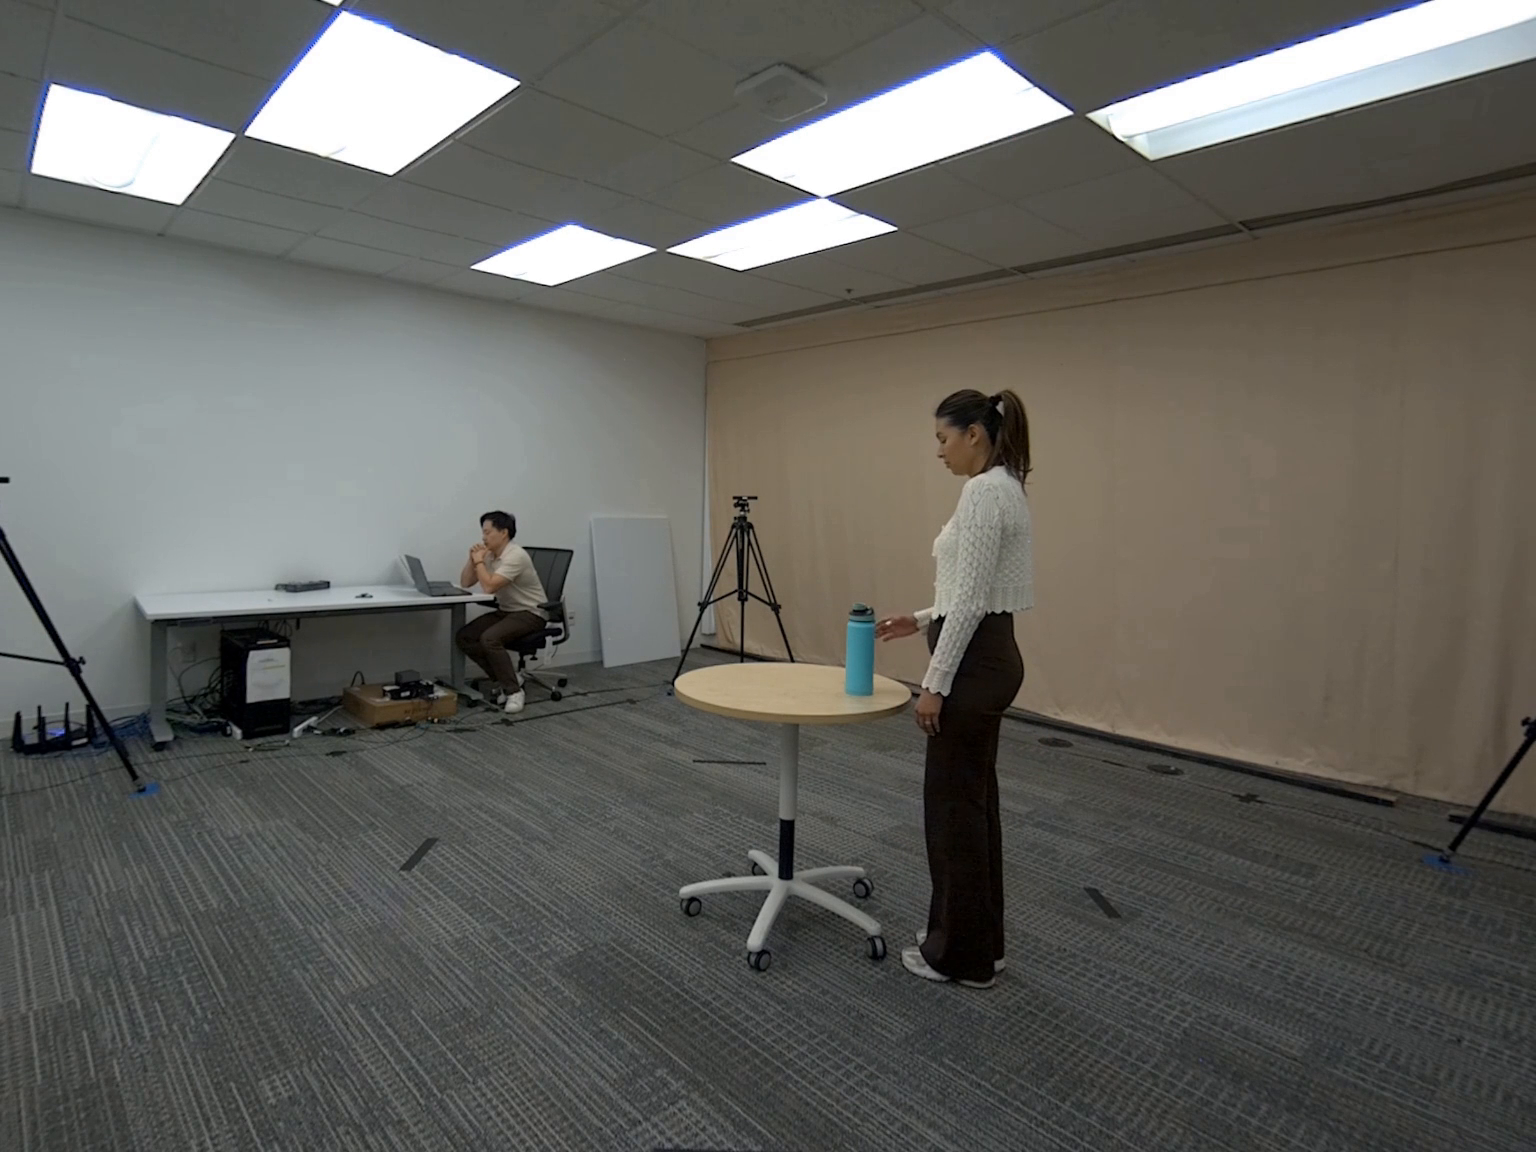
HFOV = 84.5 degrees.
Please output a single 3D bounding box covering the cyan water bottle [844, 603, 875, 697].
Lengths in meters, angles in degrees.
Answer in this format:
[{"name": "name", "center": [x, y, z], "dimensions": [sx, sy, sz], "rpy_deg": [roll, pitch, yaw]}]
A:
[{"name": "cyan water bottle", "center": [0.299, 0.234, 2.661], "dimensions": [0.092, 0.283, 0.092], "rpy_deg": [3, 1, -1]}]
